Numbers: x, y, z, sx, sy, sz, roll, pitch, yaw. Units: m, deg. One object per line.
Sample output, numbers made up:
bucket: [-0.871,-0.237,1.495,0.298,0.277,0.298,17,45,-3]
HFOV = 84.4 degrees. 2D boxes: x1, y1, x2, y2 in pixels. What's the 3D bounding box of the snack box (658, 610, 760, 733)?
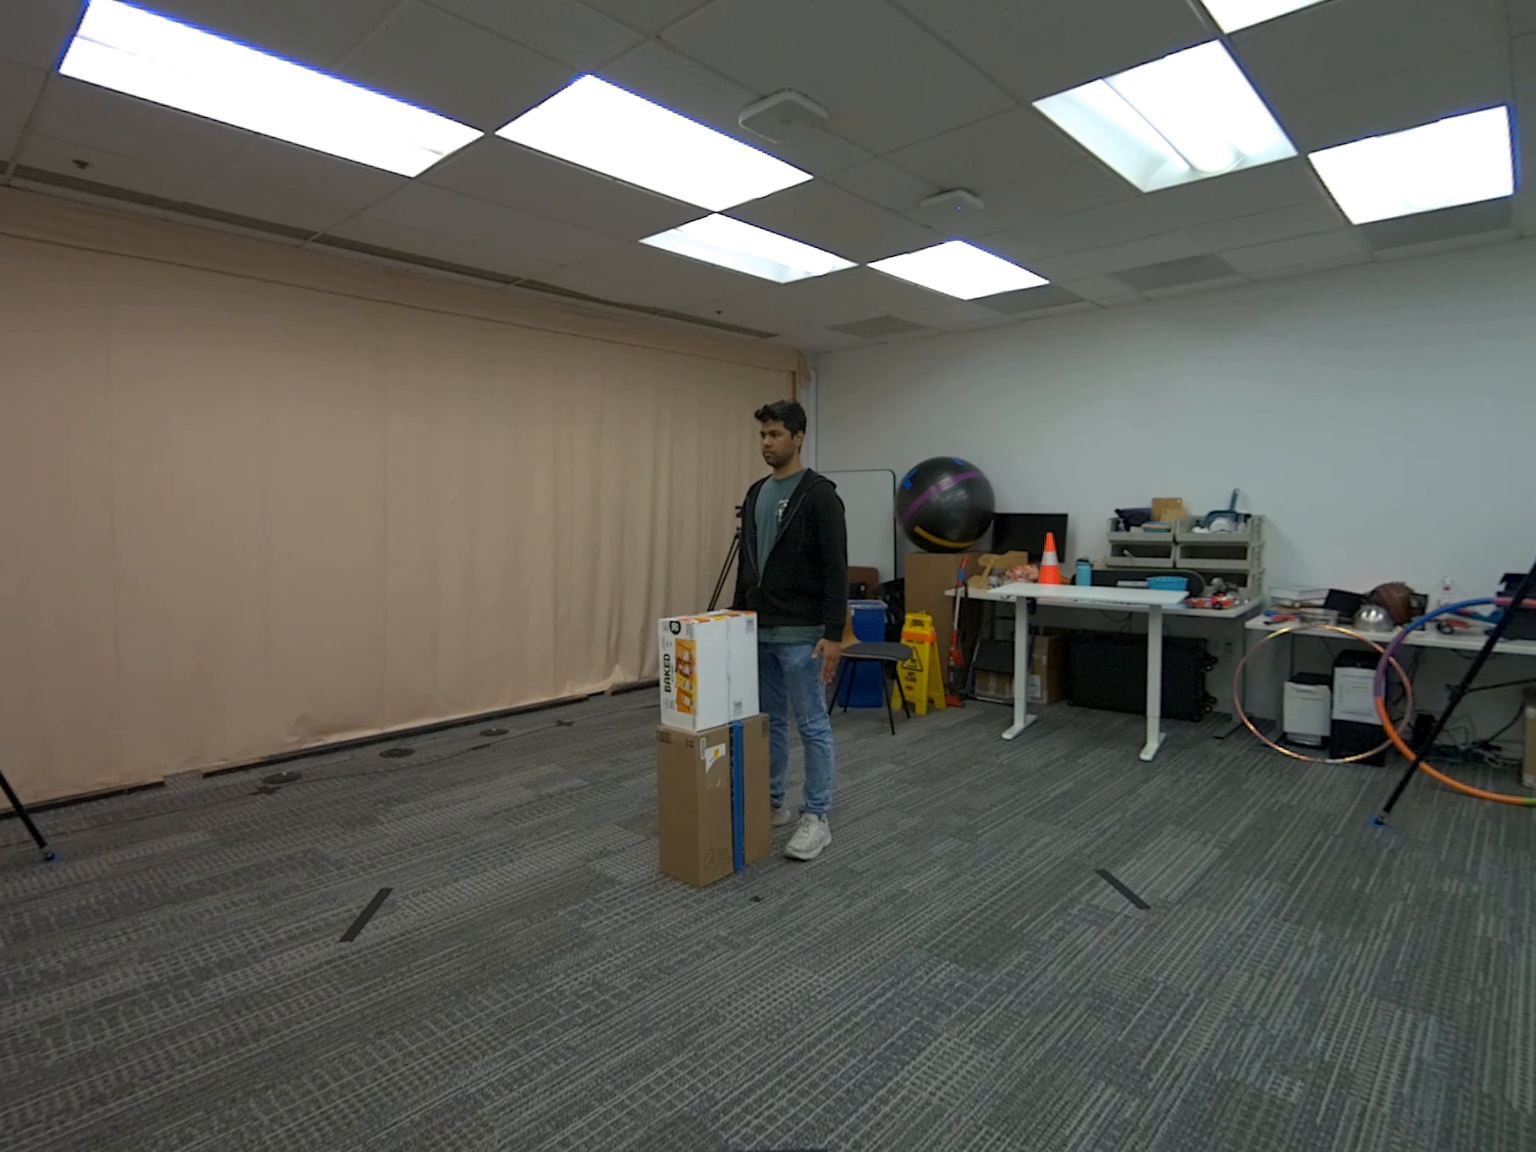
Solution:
snack box: [-0.222,0.354,3.258,0.212,0.404,0.330,0,3,45]
